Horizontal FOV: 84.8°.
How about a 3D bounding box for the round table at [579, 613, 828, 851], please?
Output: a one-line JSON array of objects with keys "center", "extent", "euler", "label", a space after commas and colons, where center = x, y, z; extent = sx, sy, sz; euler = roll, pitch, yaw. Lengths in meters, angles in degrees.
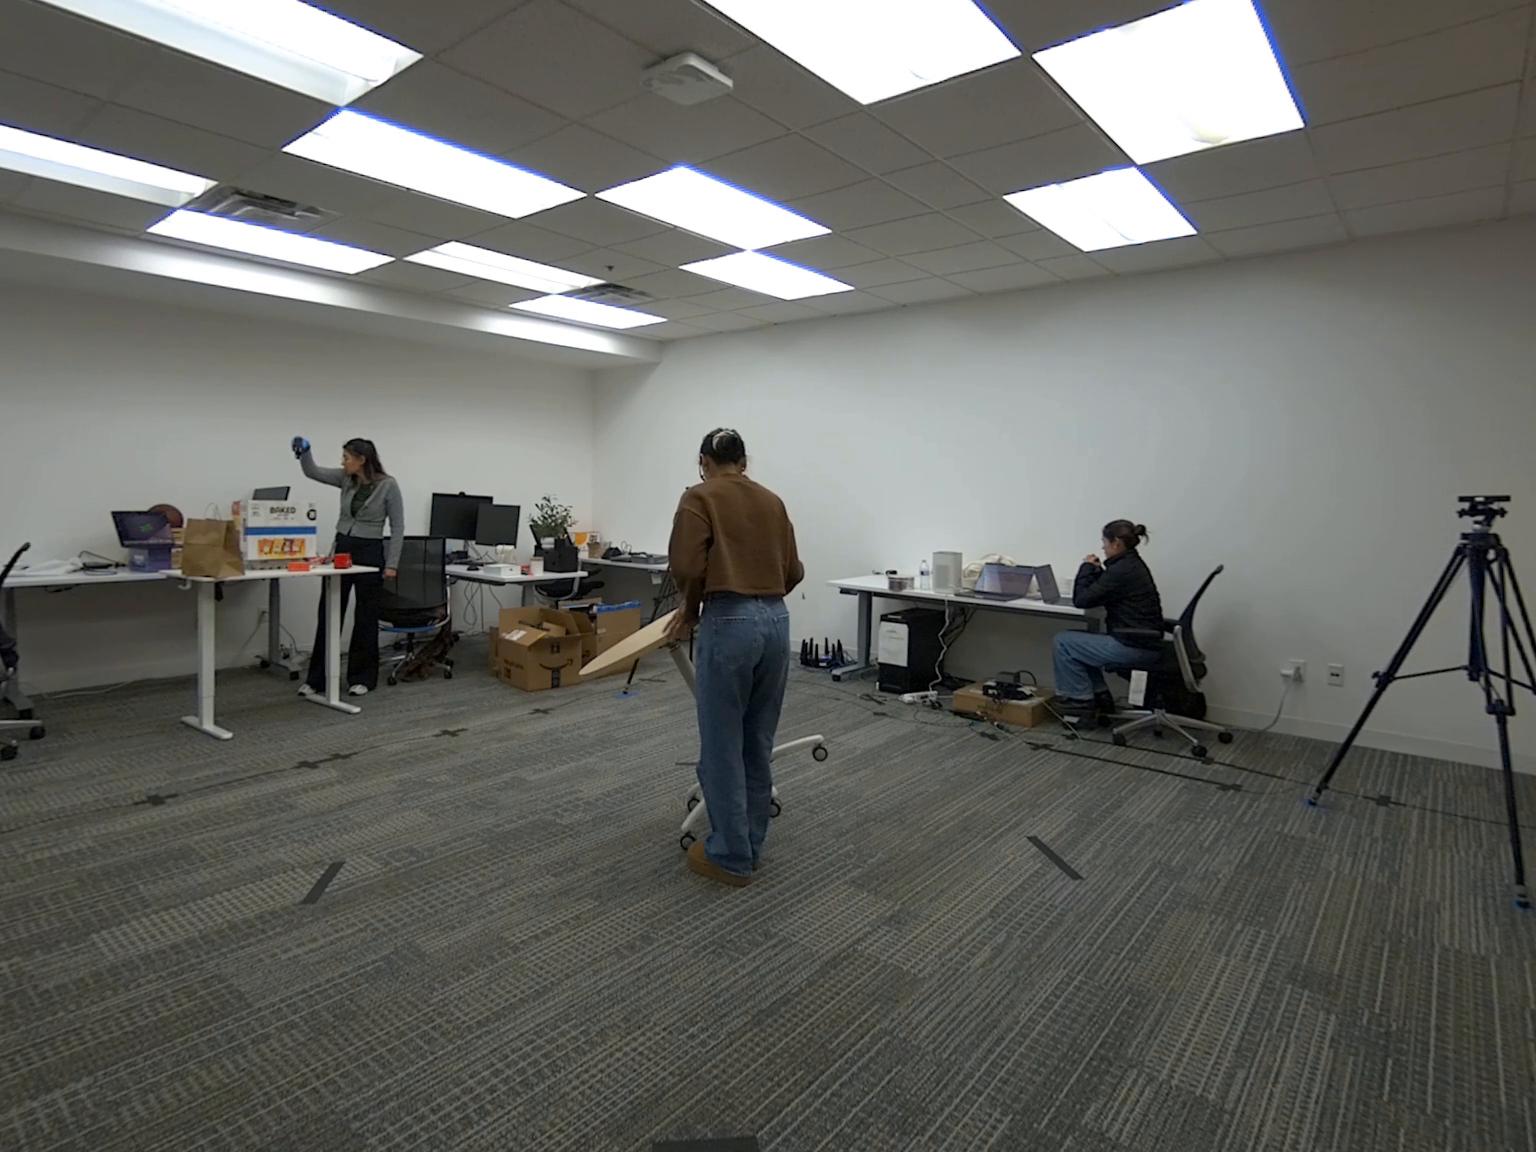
[{"center": [-0.248, 0.546, 3.459], "extent": [0.764, 0.791, 0.767], "euler": [-29, 4, 0], "label": "round table"}]
